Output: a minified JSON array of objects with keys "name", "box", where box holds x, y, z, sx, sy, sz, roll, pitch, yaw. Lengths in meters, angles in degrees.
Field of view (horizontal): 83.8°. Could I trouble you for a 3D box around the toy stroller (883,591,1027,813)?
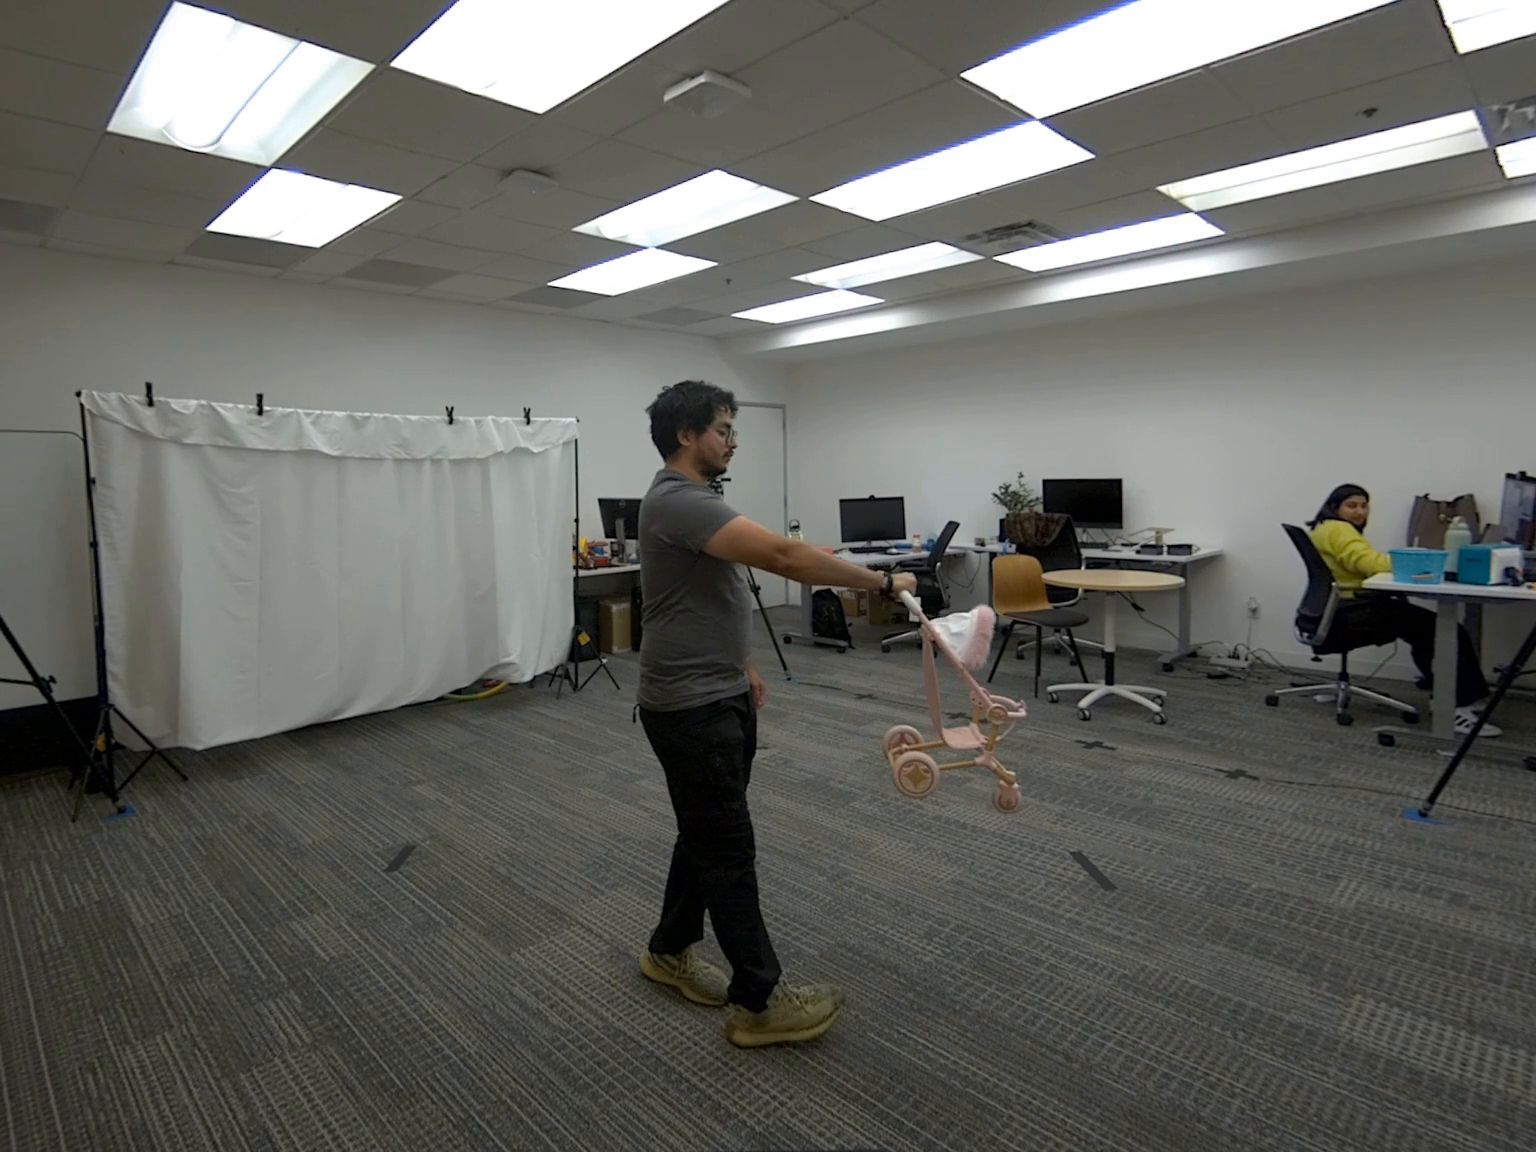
[{"name":"toy stroller","box":[0.468,0.305,2.102,0.345,0.534,0.279,4,1,9]}]
